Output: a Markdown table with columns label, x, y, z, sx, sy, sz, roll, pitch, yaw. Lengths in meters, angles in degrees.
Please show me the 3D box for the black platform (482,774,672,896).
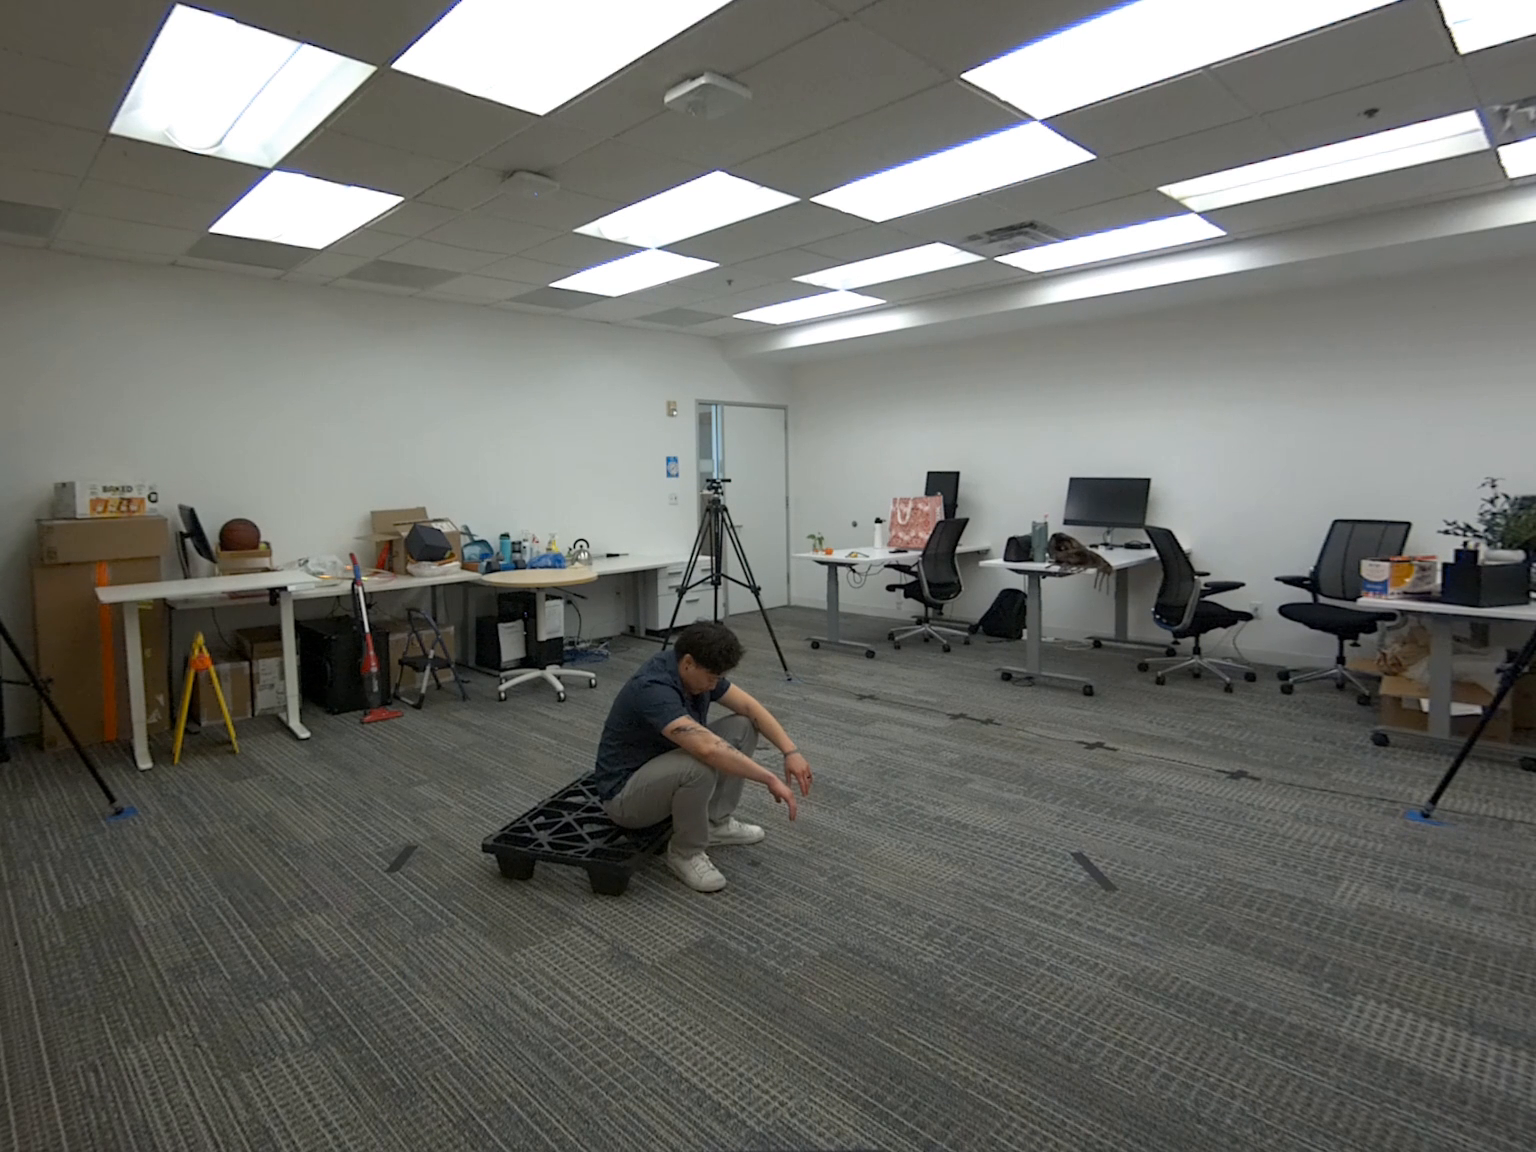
| label | x | y | z | sx | sy | sz | roll | pitch | yaw |
| --- | --- | --- | --- | --- | --- | --- | --- | --- | --- |
| black platform | -0.608 | 0.967 | 3.292 | 0.616 | 0.142 | 0.794 | 1 | 7 | 19 |
